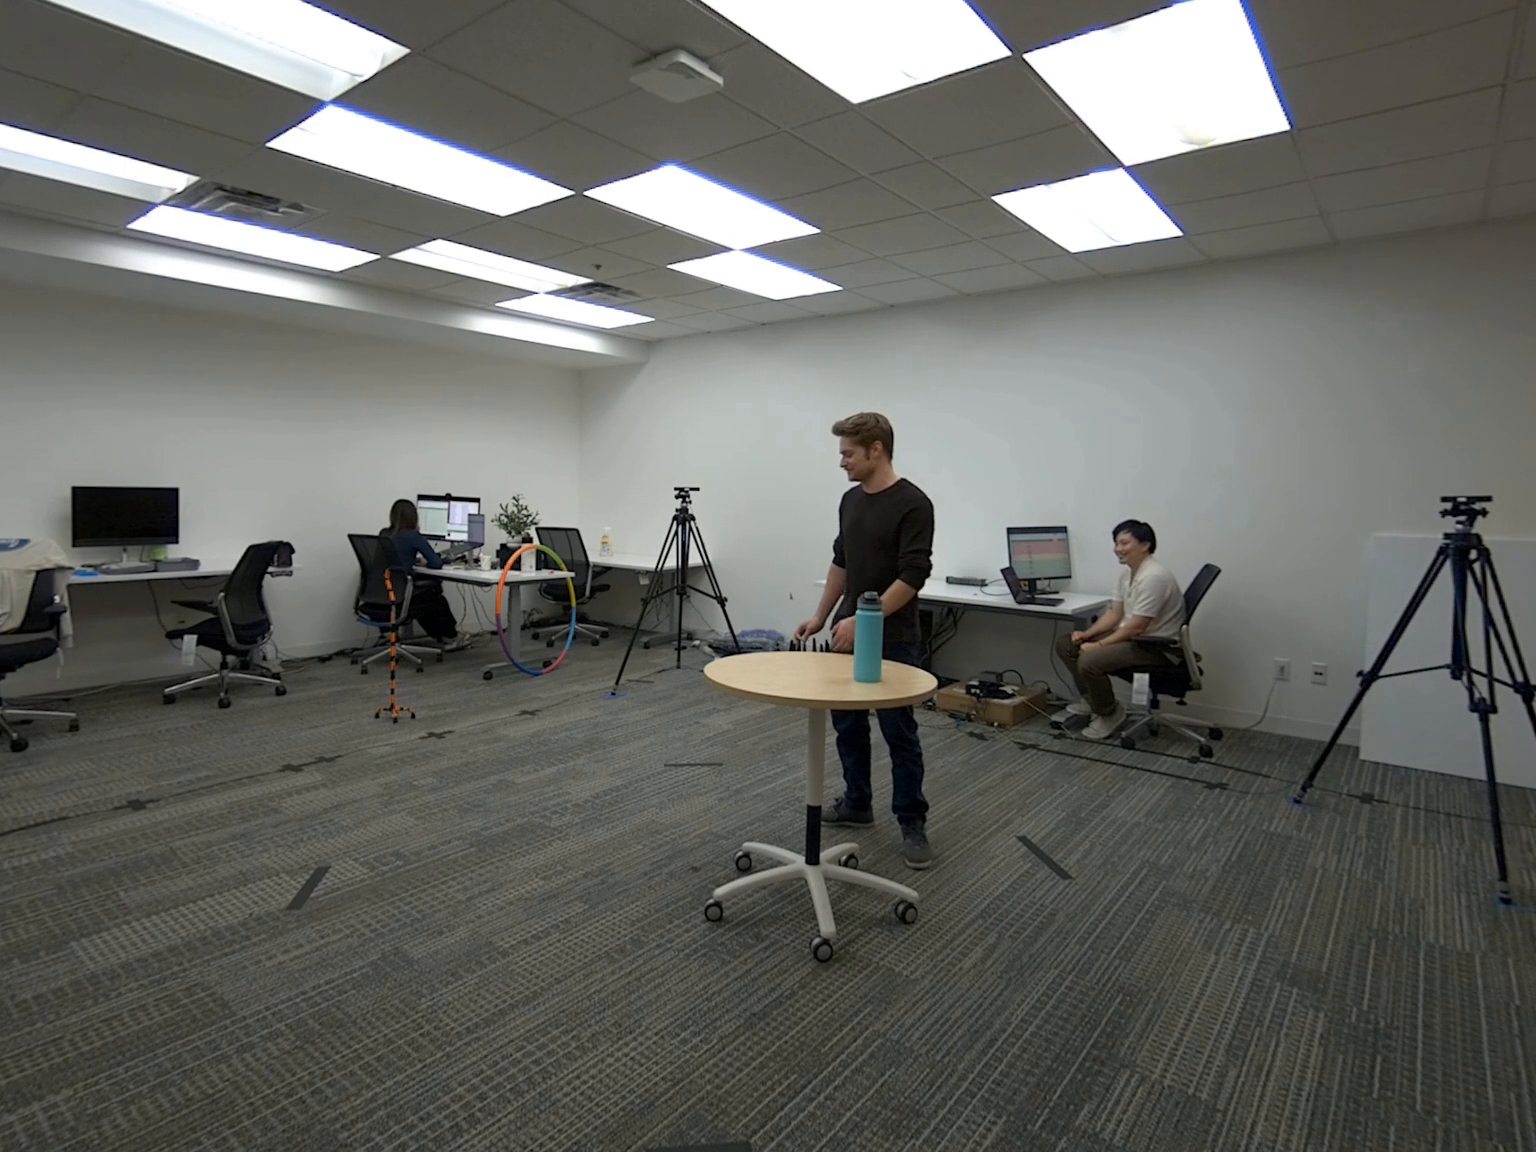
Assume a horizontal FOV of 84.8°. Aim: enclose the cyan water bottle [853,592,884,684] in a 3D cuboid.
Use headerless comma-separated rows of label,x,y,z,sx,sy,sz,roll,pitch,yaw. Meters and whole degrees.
cyan water bottle,0.313,0.191,2.730,0.092,0.283,0.092,0,0,-2
